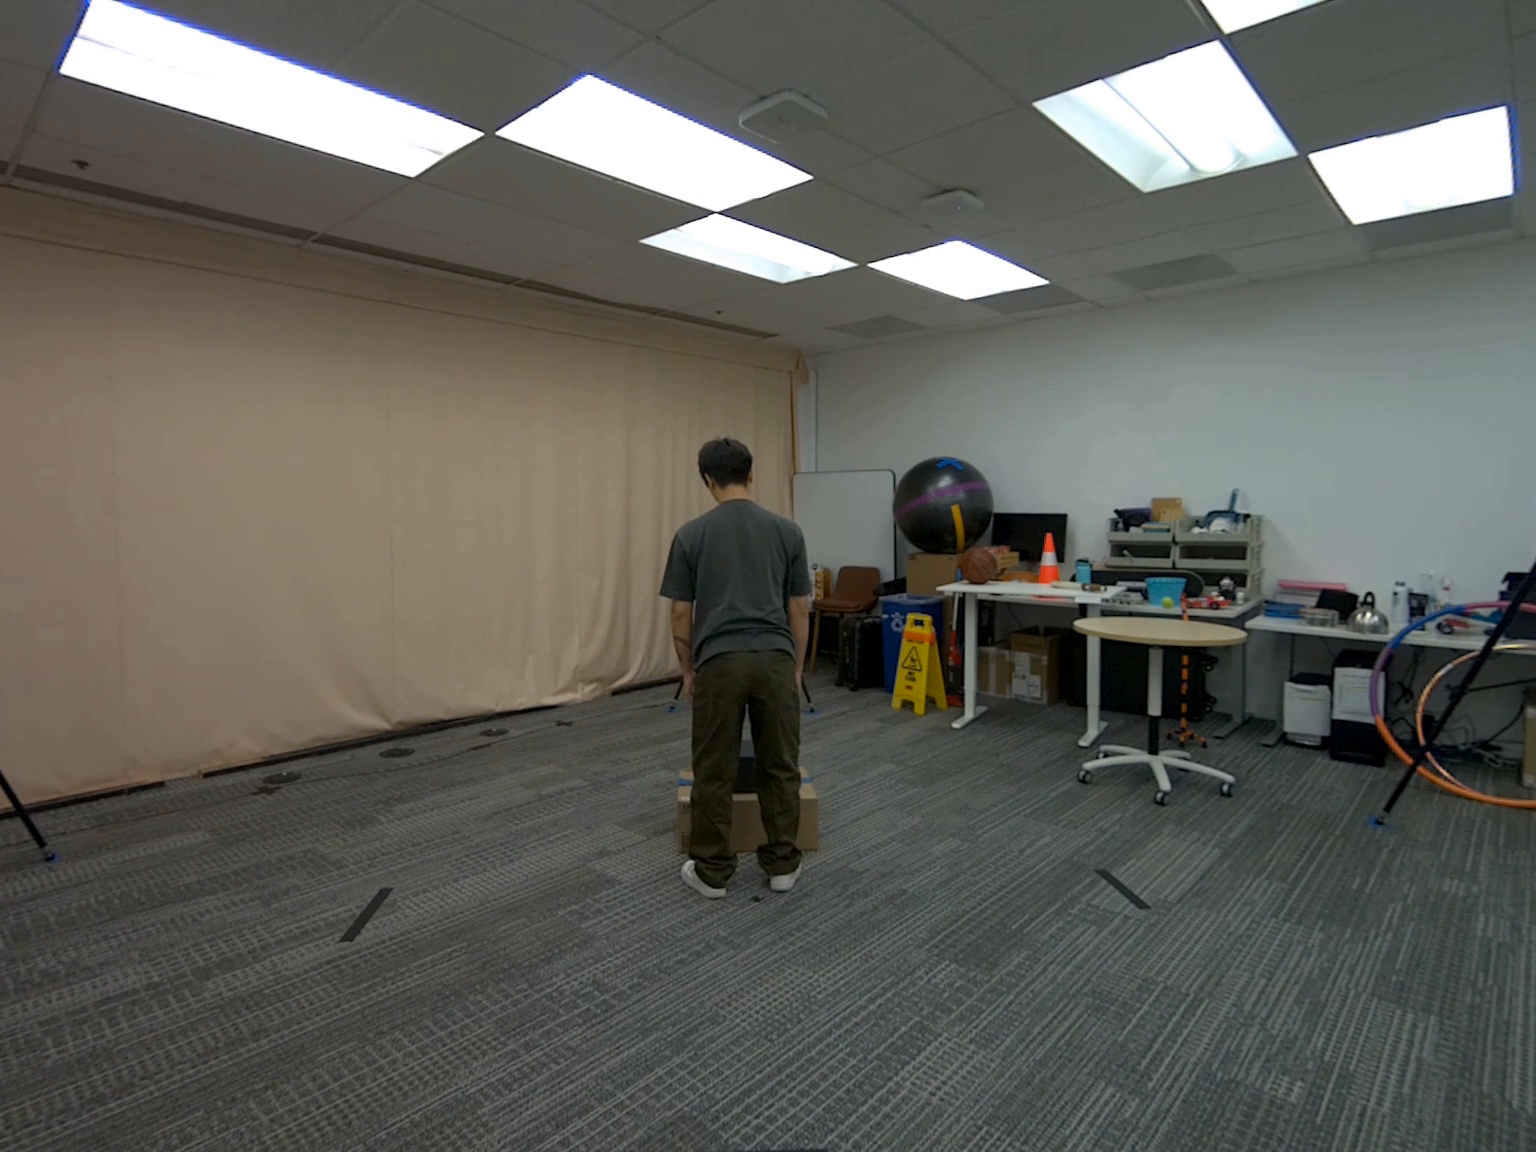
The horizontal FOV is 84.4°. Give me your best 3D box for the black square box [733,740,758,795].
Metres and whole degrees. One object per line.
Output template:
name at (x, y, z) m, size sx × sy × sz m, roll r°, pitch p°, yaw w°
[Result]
black square box at (-0.102, 0.798, 3.551) m, size 0.227 × 0.155 × 0.218 m, roll -1°, pitch 5°, yaw -3°
